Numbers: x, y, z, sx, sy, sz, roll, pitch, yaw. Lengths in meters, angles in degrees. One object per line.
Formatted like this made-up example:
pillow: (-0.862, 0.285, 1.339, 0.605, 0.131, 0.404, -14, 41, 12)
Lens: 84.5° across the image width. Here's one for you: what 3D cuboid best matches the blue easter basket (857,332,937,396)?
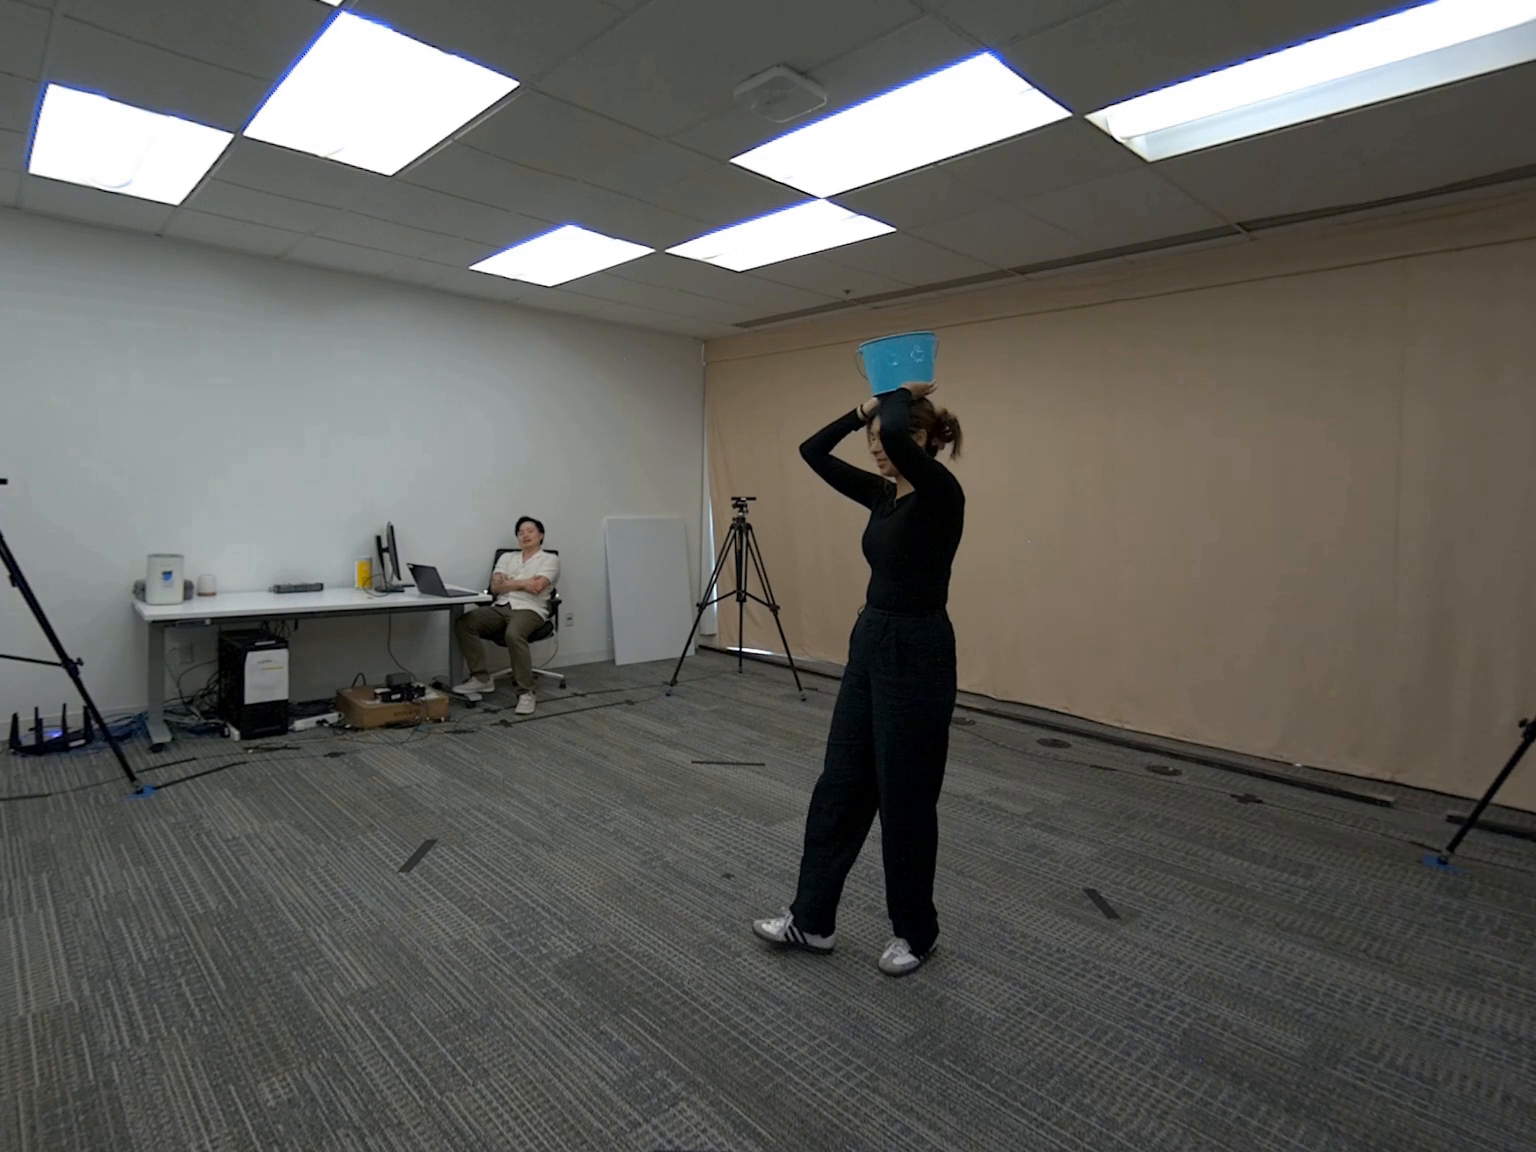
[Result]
blue easter basket: (0.395, -0.624, 2.508, 0.243, 0.155, 0.244, -7, 6, -1)
